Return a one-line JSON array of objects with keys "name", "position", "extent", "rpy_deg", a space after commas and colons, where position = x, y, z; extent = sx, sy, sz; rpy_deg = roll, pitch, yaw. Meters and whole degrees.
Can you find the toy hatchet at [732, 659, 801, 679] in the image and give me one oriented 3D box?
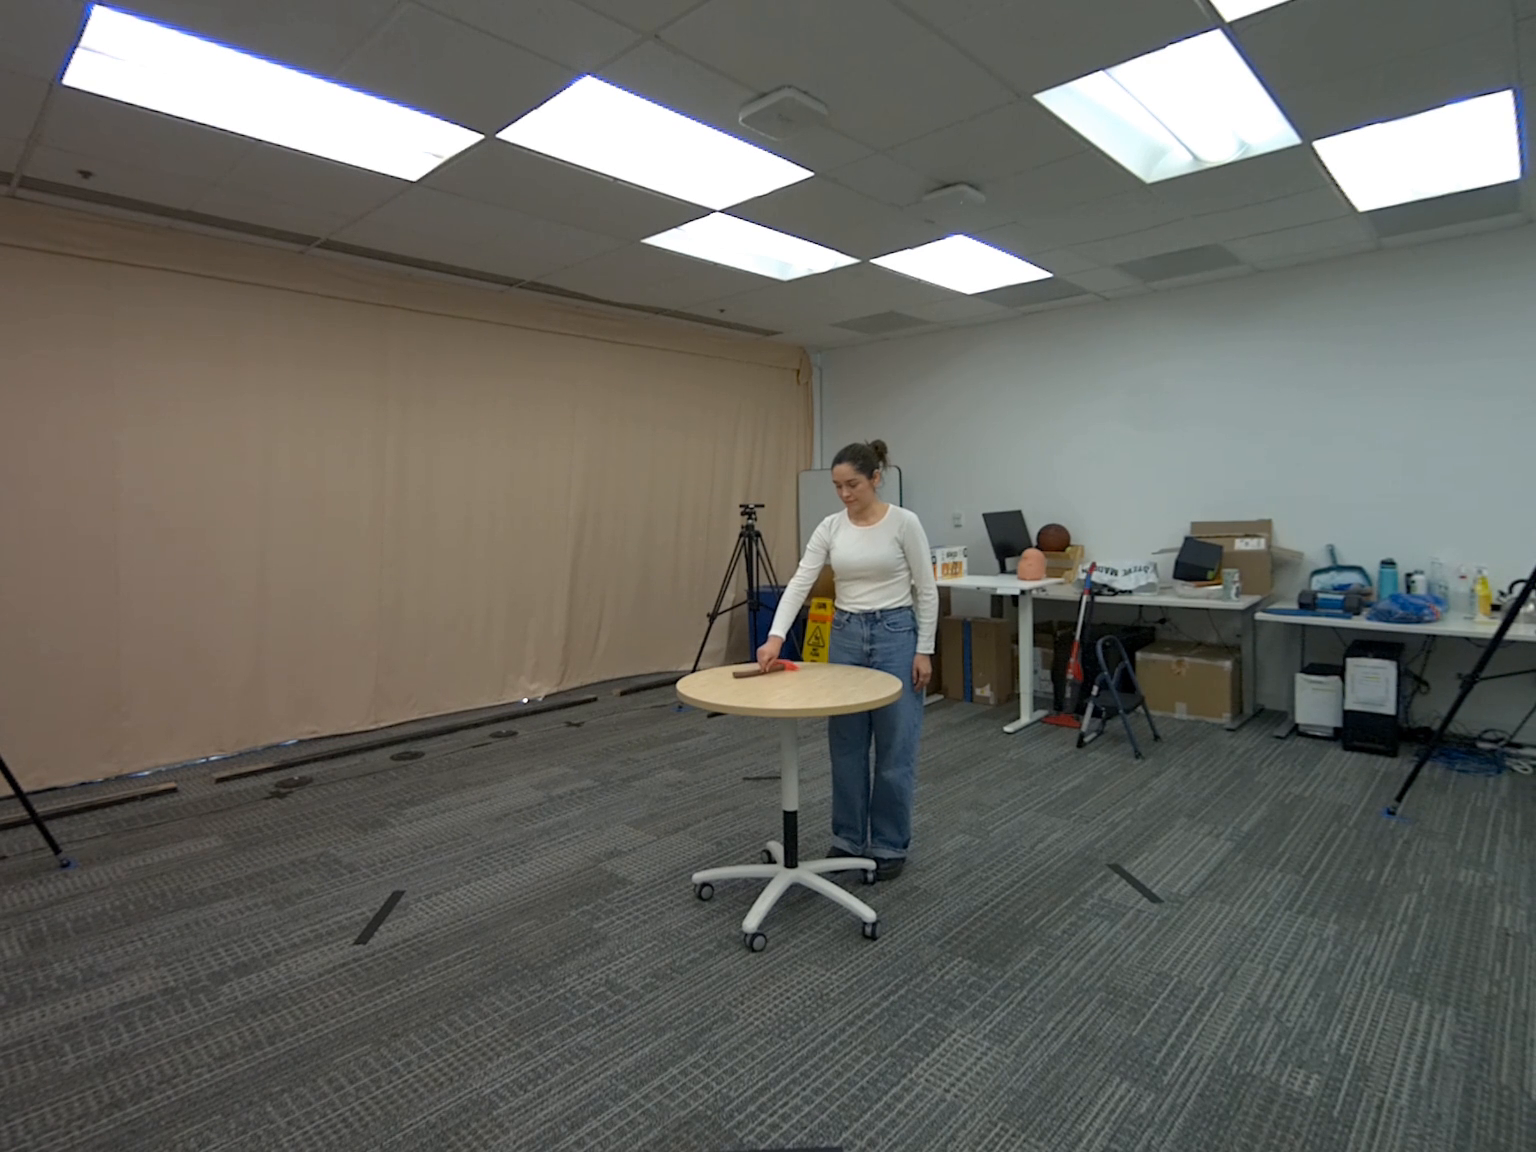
[{"name": "toy hatchet", "position": [-0.028, 0.339, 3.058], "extent": [0.263, 0.029, 0.135], "rpy_deg": [-4, 12, -29]}]
